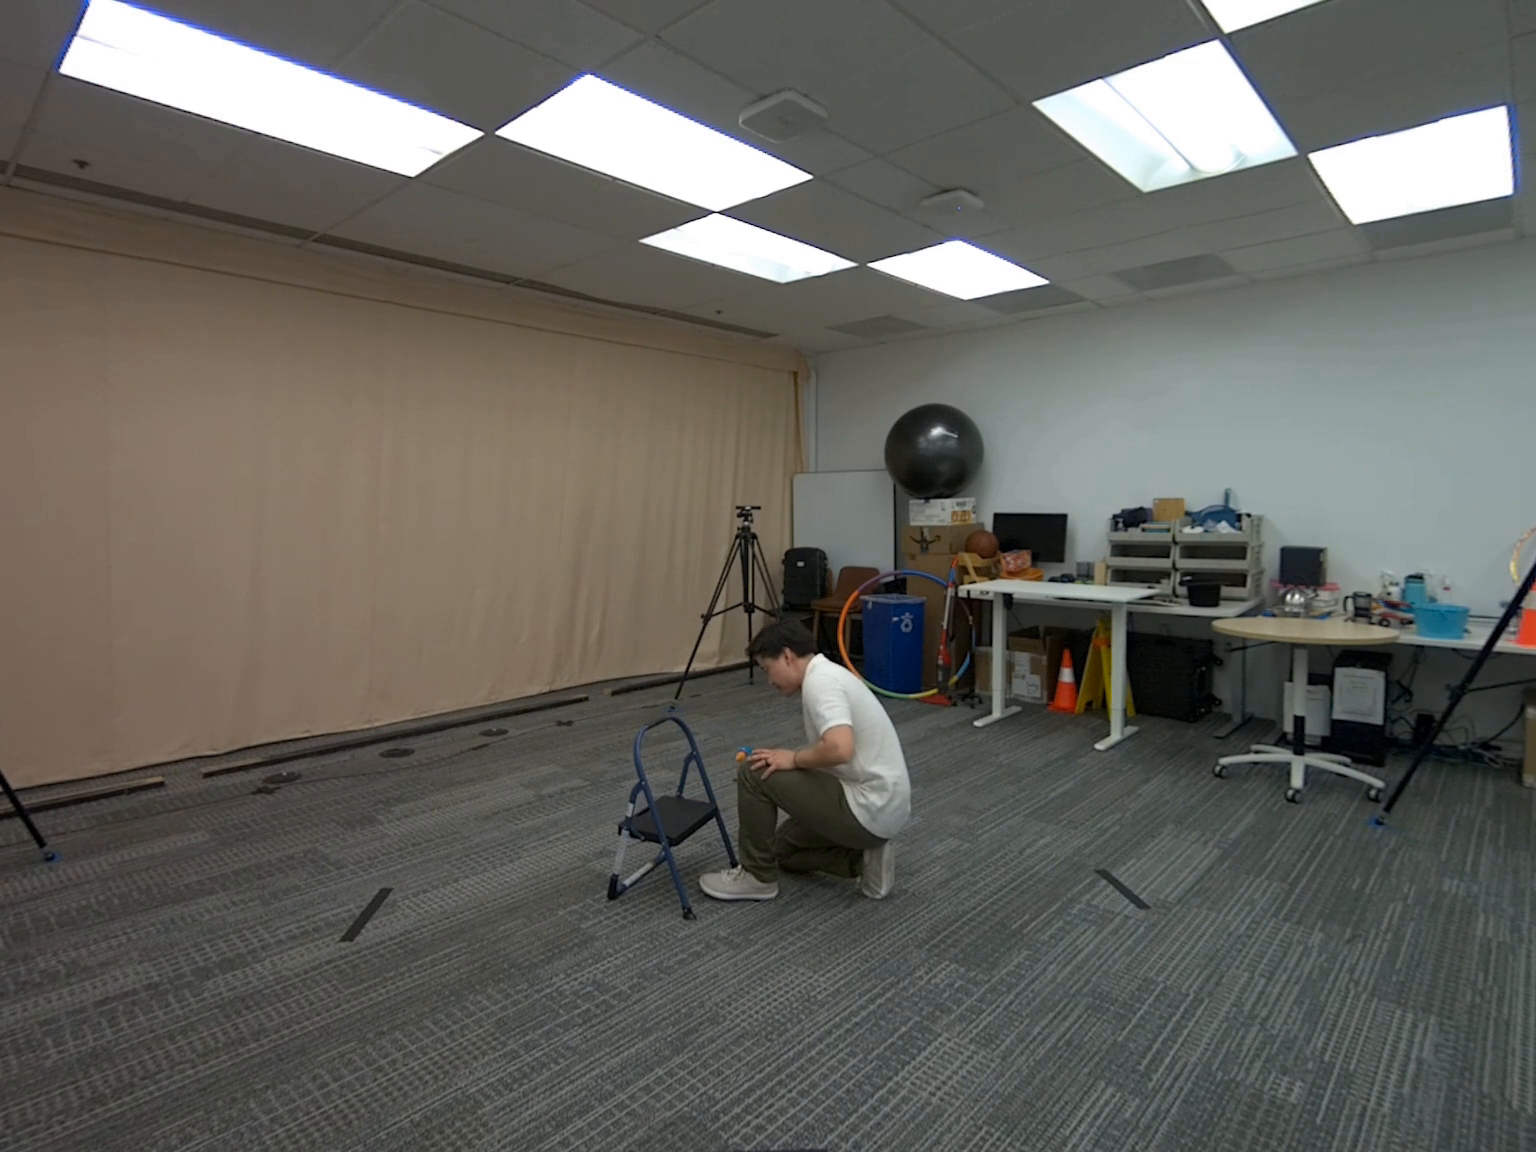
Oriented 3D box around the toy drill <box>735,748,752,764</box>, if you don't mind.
[{"bbox_3d":[-0.074,0.729,3.189,0.062,0.146,0.168,-14,-2,8],"label":"toy drill"}]
